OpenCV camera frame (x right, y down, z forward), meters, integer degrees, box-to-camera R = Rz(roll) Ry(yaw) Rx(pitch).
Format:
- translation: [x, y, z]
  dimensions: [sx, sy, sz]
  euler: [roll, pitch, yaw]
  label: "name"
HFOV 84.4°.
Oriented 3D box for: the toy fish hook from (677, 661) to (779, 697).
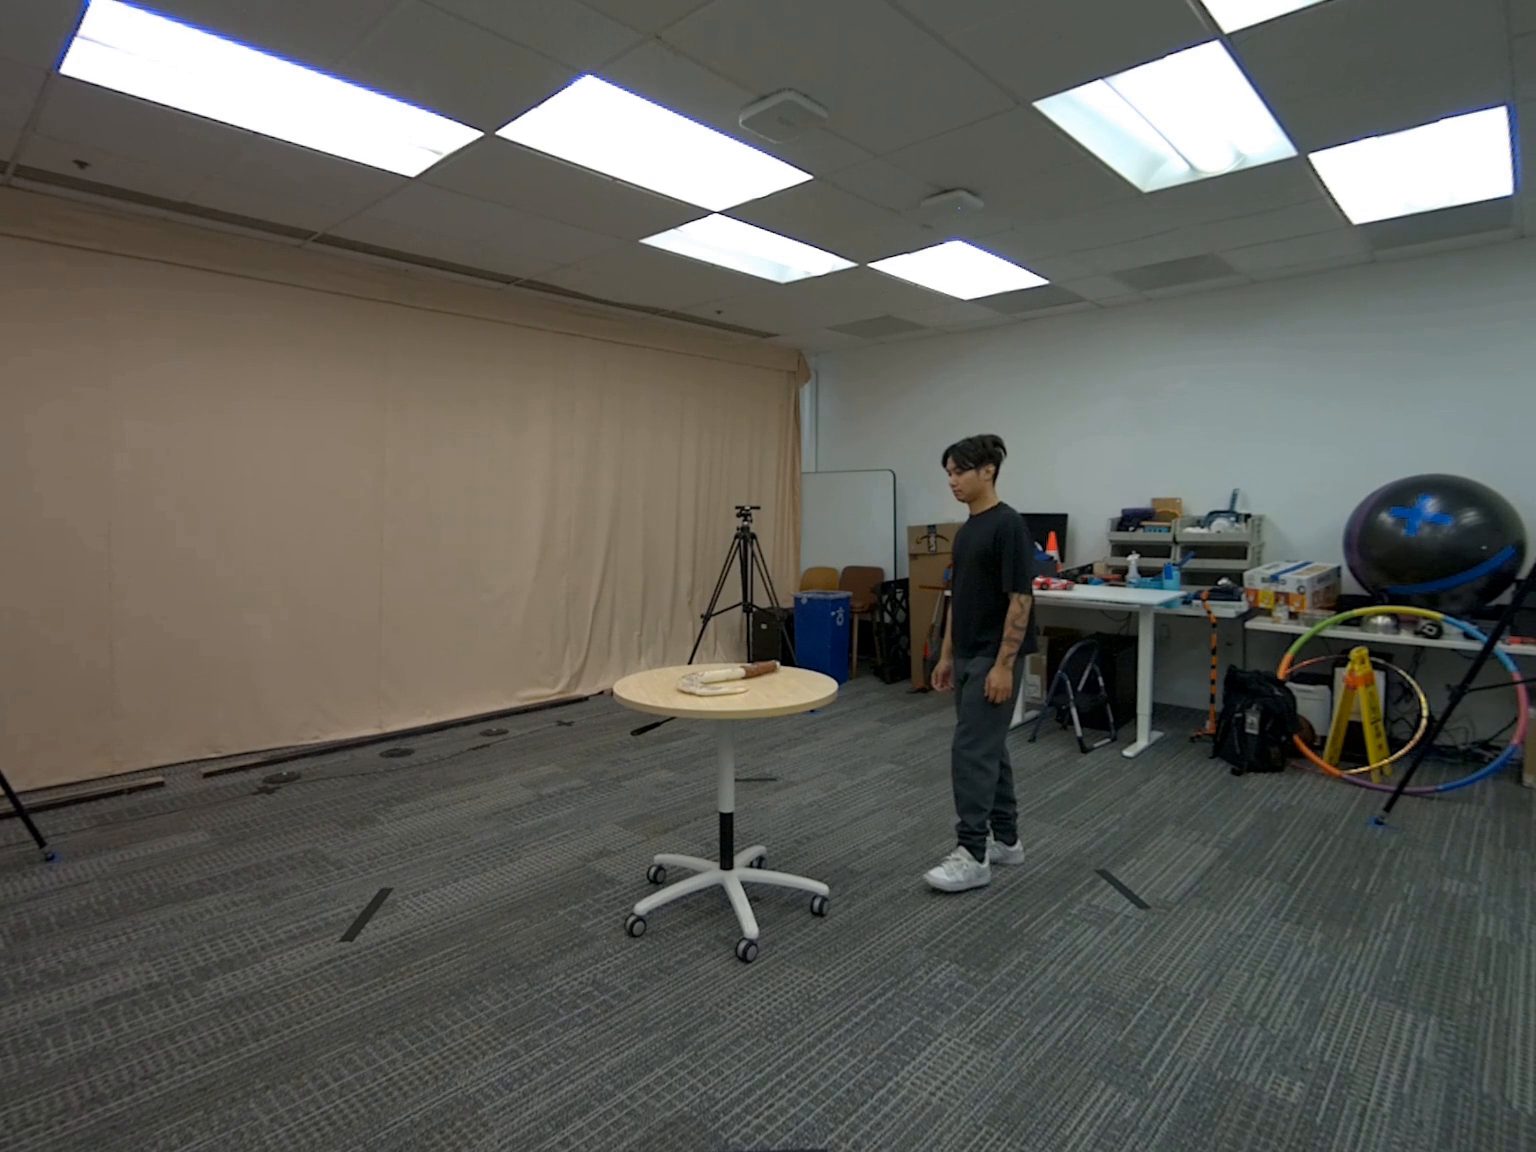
- translation: [-0.089, 0.359, 2.897]
  dimensions: [0.232, 0.048, 0.491]
  euler: [12, 13, 43]
  label: "toy fish hook"
